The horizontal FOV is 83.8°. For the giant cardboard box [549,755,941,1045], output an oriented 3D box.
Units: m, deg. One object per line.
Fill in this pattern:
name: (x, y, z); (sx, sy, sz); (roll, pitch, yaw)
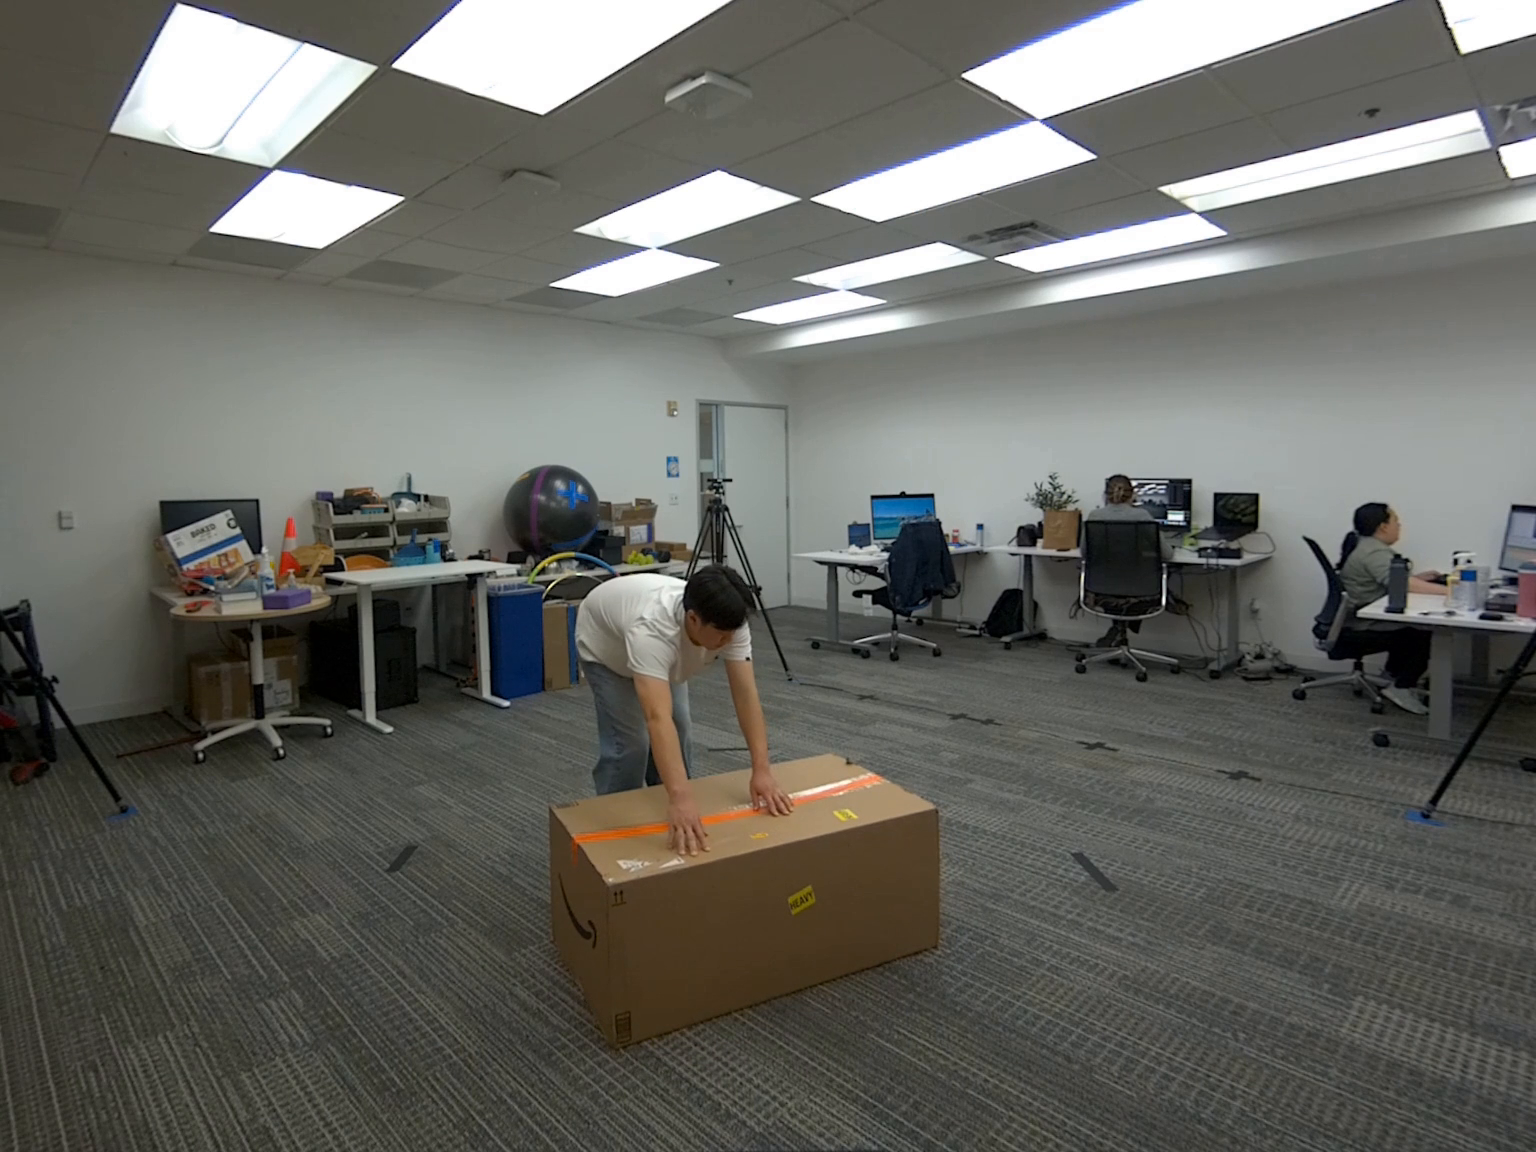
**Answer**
giant cardboard box: (-0.073, 0.897, 2.560); (1.004, 0.424, 0.593); (-4, 7, -26)
